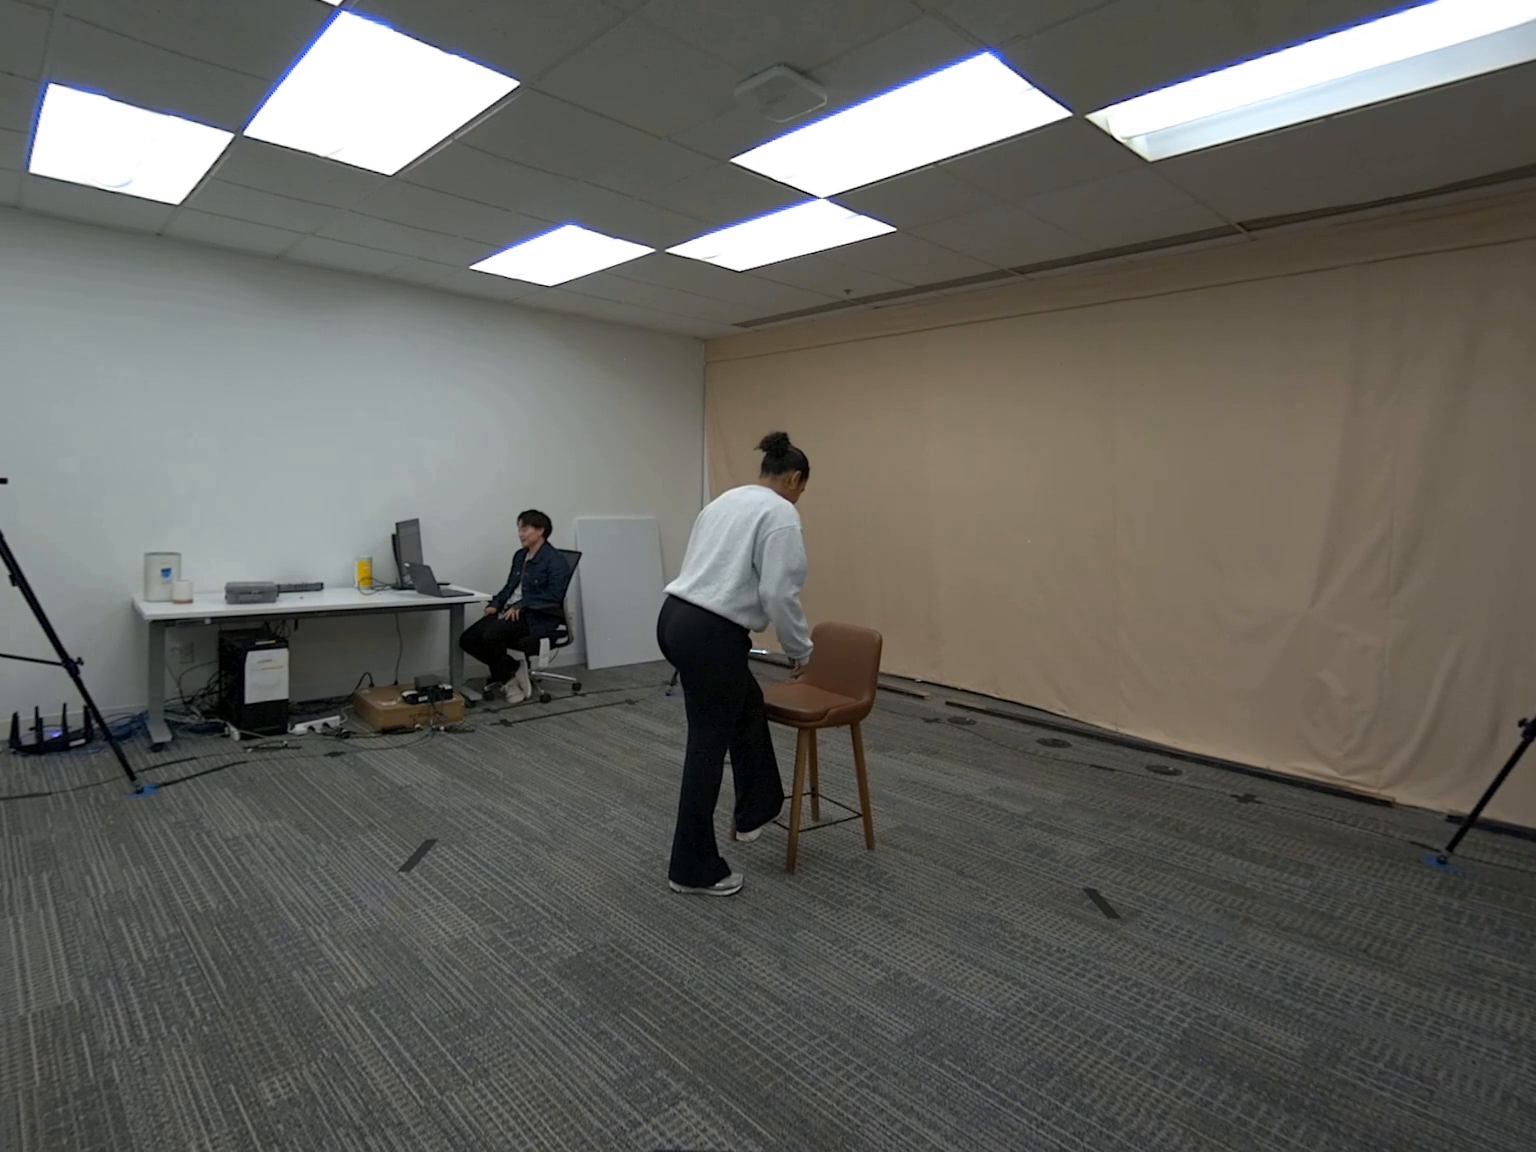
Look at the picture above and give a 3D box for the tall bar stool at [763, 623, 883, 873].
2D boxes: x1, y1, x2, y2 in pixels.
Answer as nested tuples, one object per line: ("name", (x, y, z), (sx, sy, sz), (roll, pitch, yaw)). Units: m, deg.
("tall bar stool", (0.149, 0.650, 3.393), (0.457, 0.889, 0.467), (1, 2, -35))
